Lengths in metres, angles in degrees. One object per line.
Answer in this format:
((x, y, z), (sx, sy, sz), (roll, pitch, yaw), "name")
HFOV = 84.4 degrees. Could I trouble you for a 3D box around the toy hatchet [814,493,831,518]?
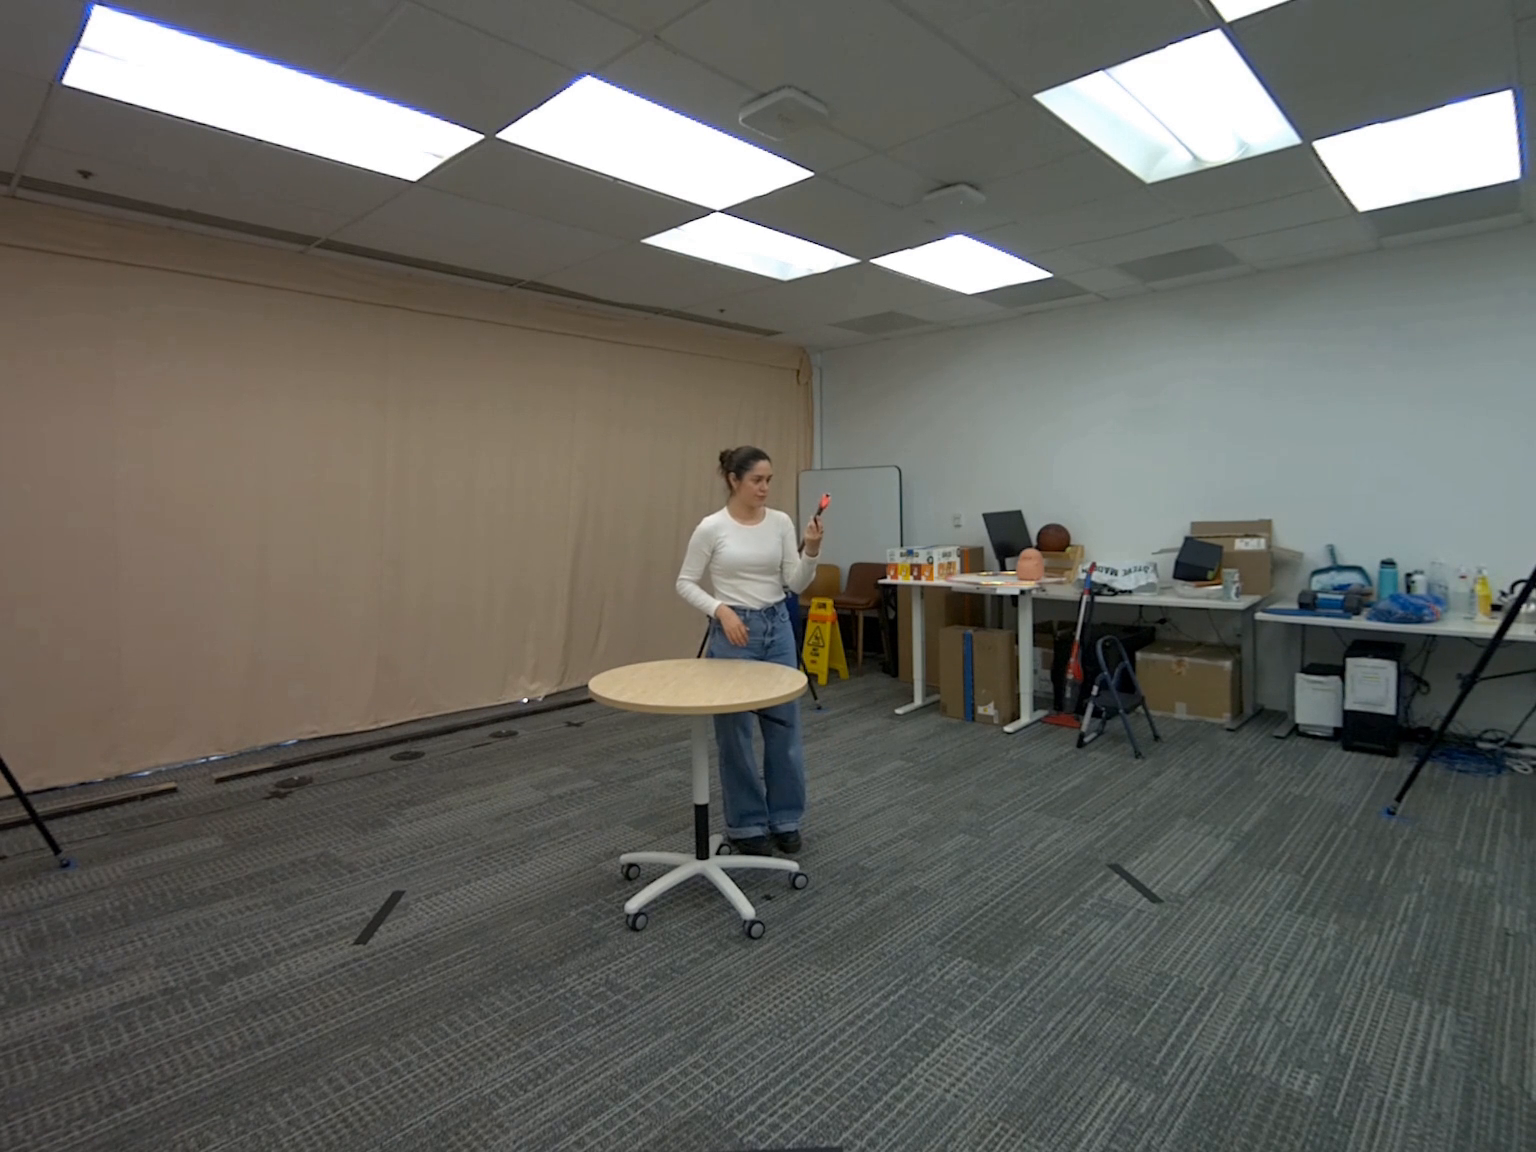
((0.184, -0.216, 3.212), (0.029, 0.269, 0.132), (24, 45, -4), "toy hatchet")
